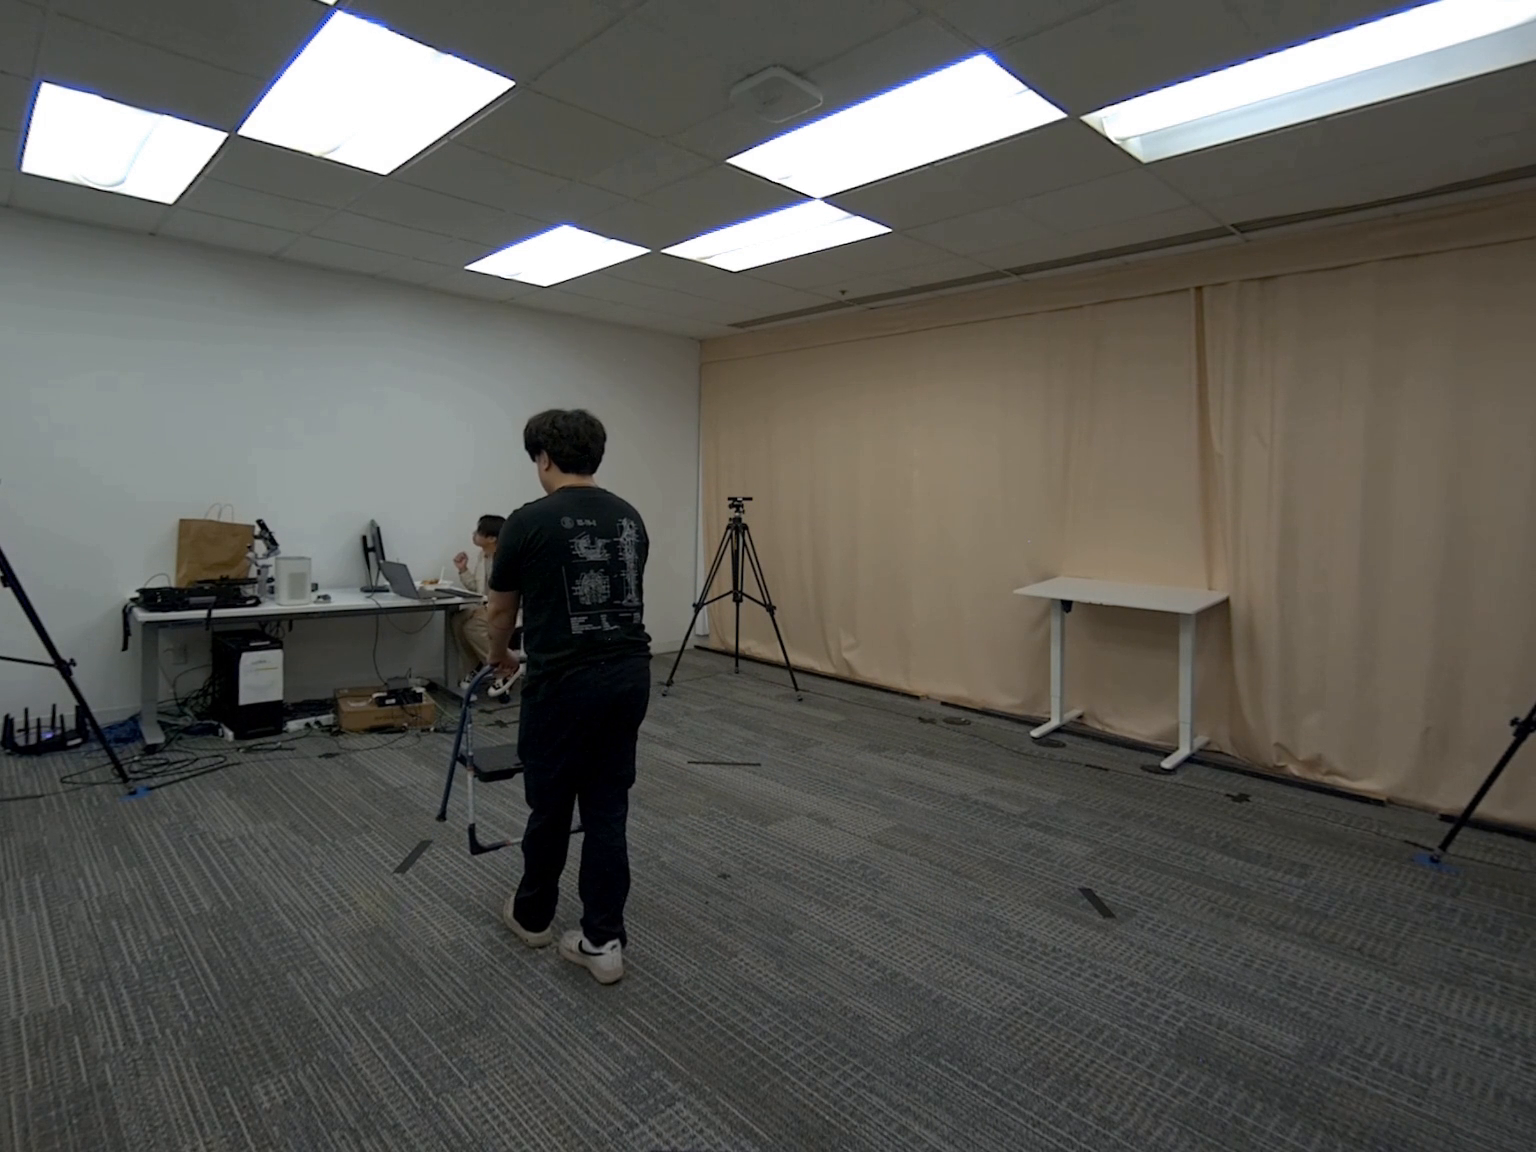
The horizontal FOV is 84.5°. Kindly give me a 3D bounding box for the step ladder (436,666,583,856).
[{"bbox_3d":[-0.860,0.566,2.868,0.421,0.604,0.358,-1,6,-39],"label":"step ladder"}]
